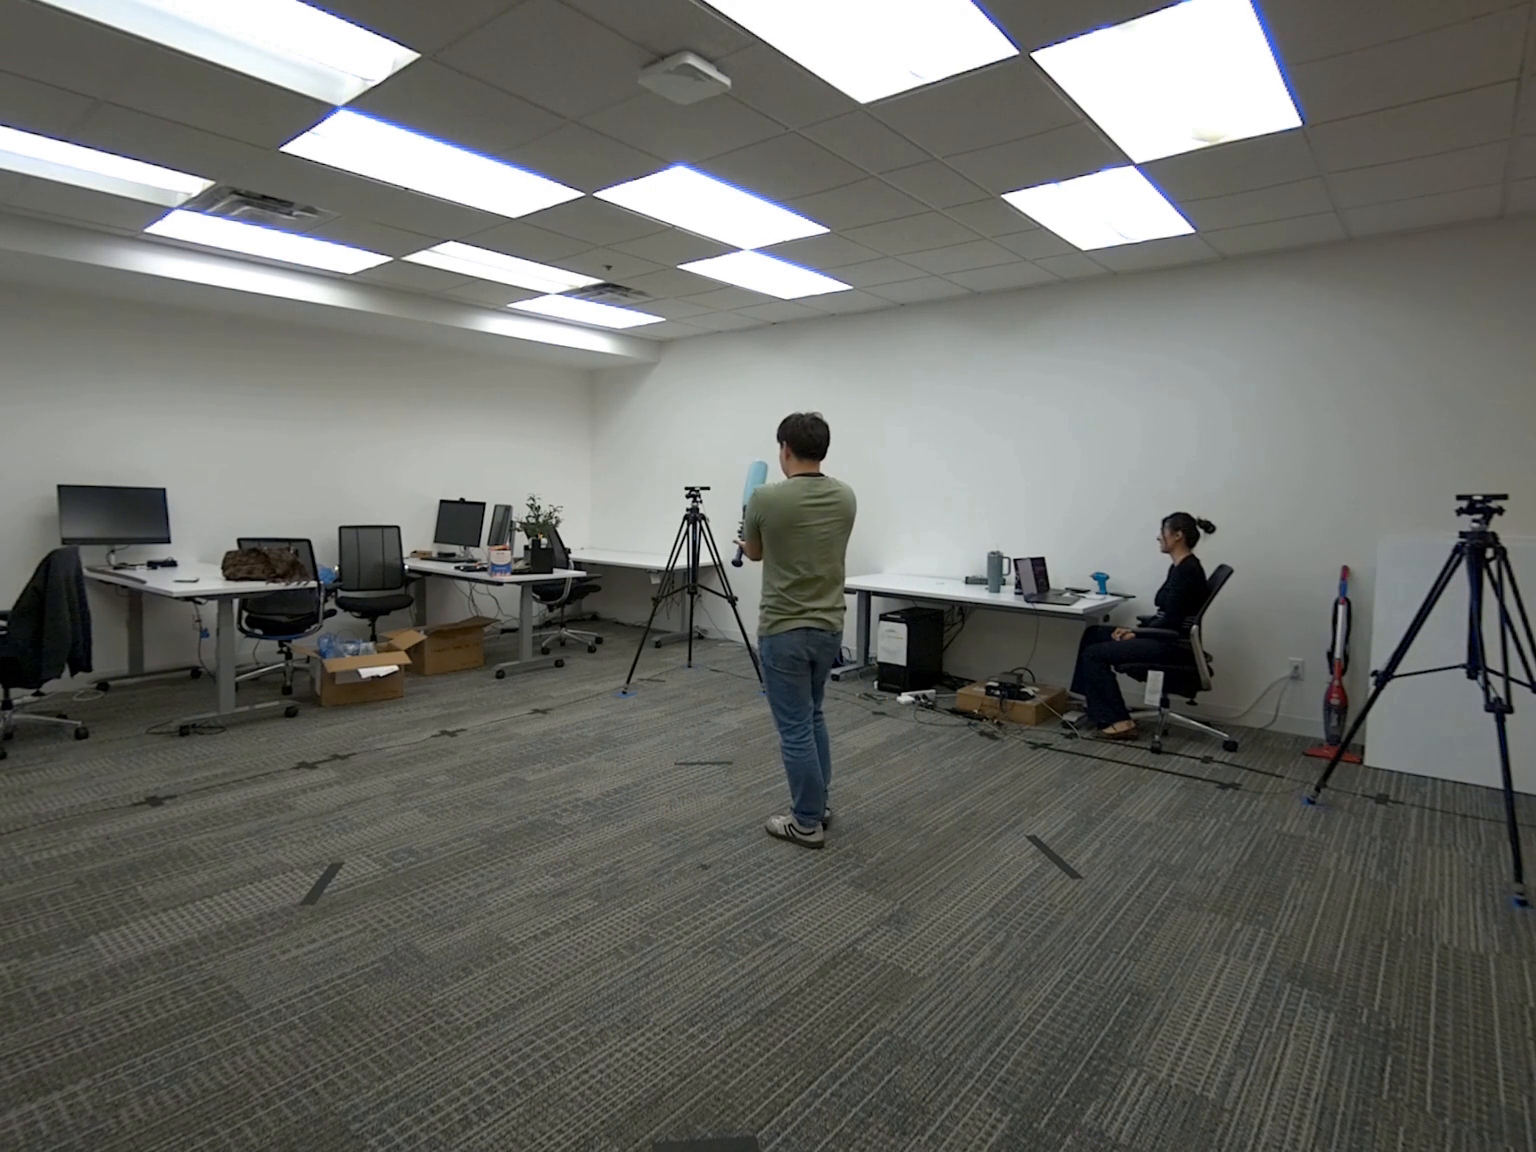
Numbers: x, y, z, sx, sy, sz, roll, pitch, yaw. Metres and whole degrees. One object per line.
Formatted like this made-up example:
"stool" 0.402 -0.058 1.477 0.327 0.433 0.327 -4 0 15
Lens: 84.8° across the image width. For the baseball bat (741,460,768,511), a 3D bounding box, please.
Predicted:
"baseball bat" -0.097 -0.277 3.797 0.090 0.552 0.087 11 -28 4
